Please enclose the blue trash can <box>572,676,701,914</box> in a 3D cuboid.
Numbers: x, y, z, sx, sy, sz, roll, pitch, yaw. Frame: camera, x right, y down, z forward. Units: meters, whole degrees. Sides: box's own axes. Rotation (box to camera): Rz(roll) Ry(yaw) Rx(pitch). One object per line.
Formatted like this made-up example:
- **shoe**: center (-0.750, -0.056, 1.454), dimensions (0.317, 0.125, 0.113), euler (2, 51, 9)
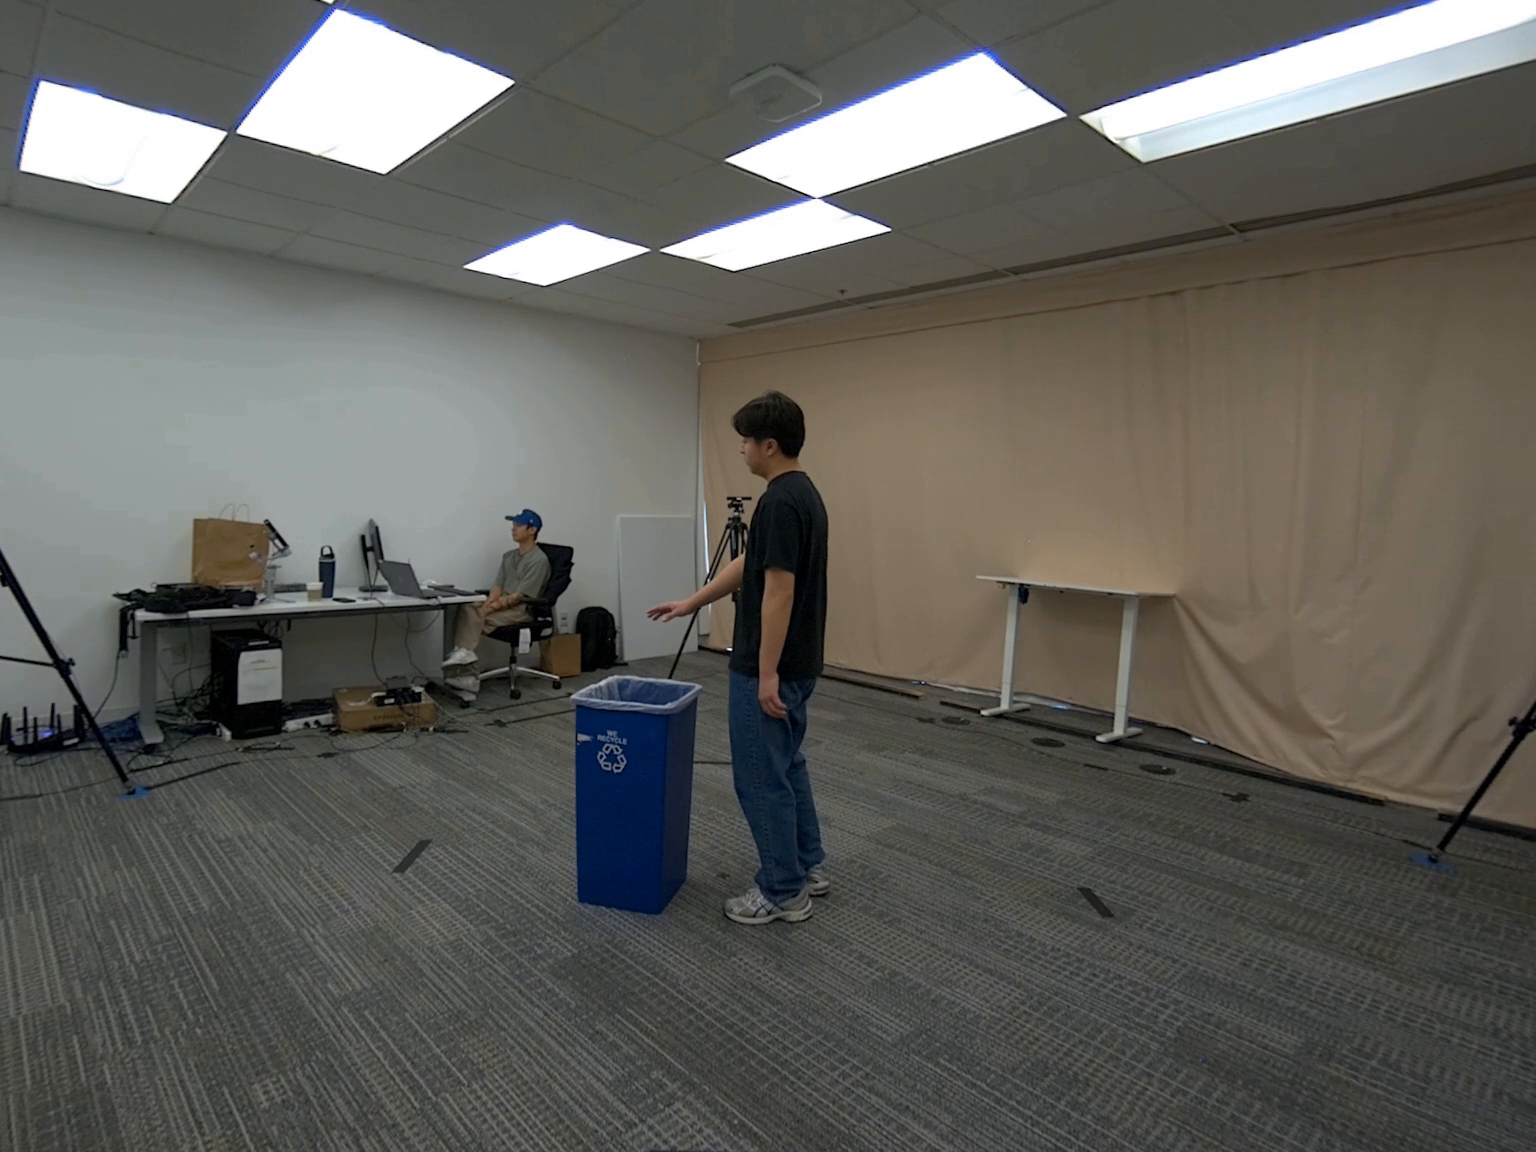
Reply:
- **blue trash can**: center (-0.469, 0.752, 2.958), dimensions (0.379, 0.712, 0.374), euler (4, 4, 14)
